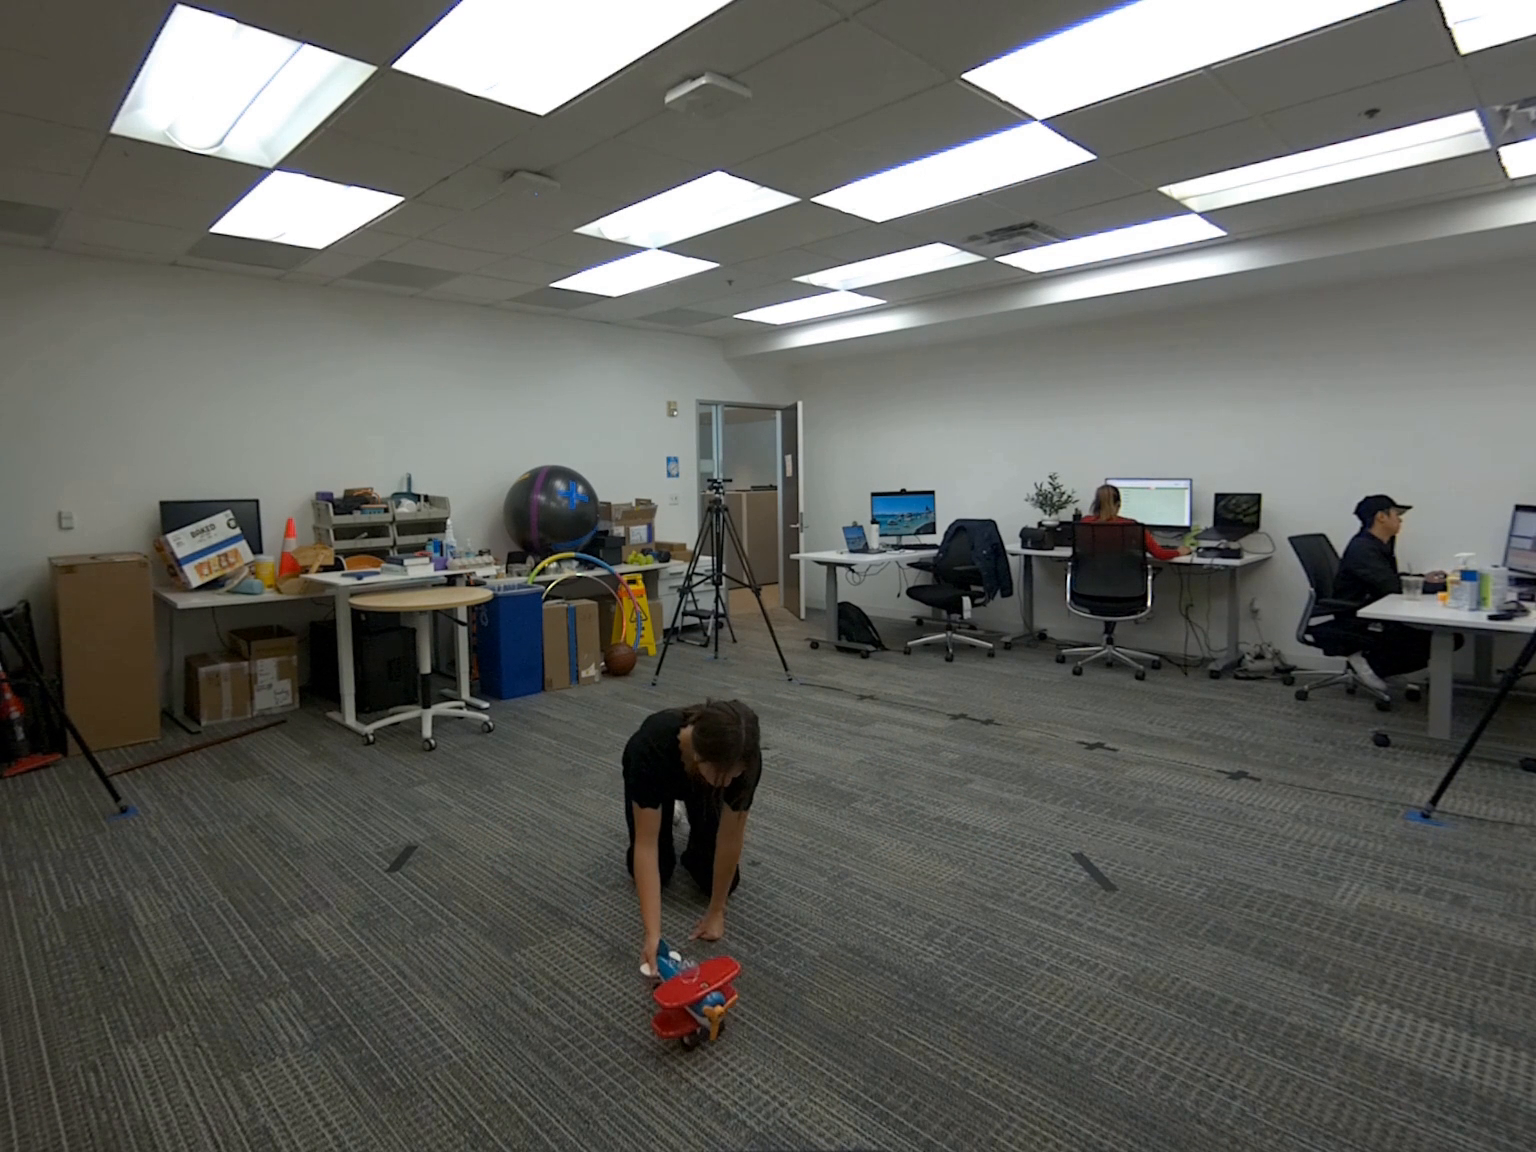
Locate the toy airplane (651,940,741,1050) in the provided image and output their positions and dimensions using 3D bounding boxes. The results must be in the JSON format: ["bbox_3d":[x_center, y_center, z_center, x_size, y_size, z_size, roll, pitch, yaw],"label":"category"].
[{"bbox_3d":[-0.213,1.067,2.156,0.264,0.154,0.250,21,22,13],"label":"toy airplane"}]
